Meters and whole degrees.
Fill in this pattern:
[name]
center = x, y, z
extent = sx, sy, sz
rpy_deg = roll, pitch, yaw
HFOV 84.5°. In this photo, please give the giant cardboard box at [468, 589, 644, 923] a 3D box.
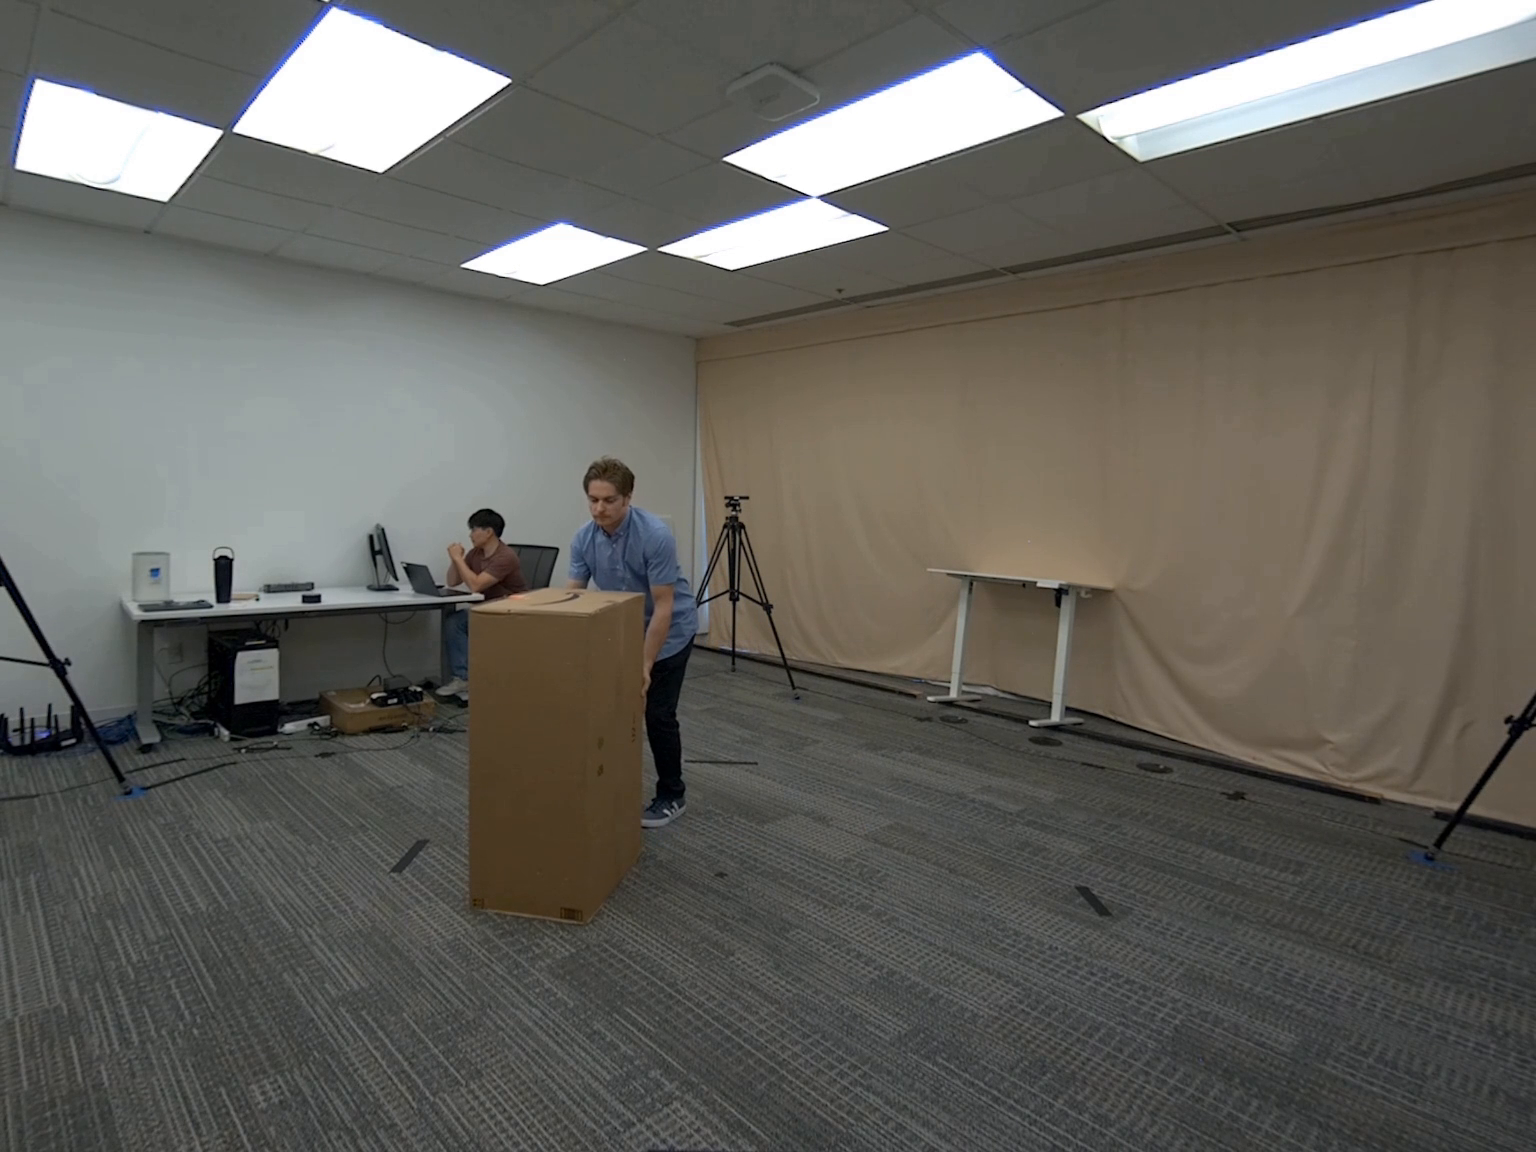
[giant cardboard box]
center = -0.747, 0.591, 3.000
extent = 0.430, 1.023, 0.574
rpy_deg = 2, 4, 11
